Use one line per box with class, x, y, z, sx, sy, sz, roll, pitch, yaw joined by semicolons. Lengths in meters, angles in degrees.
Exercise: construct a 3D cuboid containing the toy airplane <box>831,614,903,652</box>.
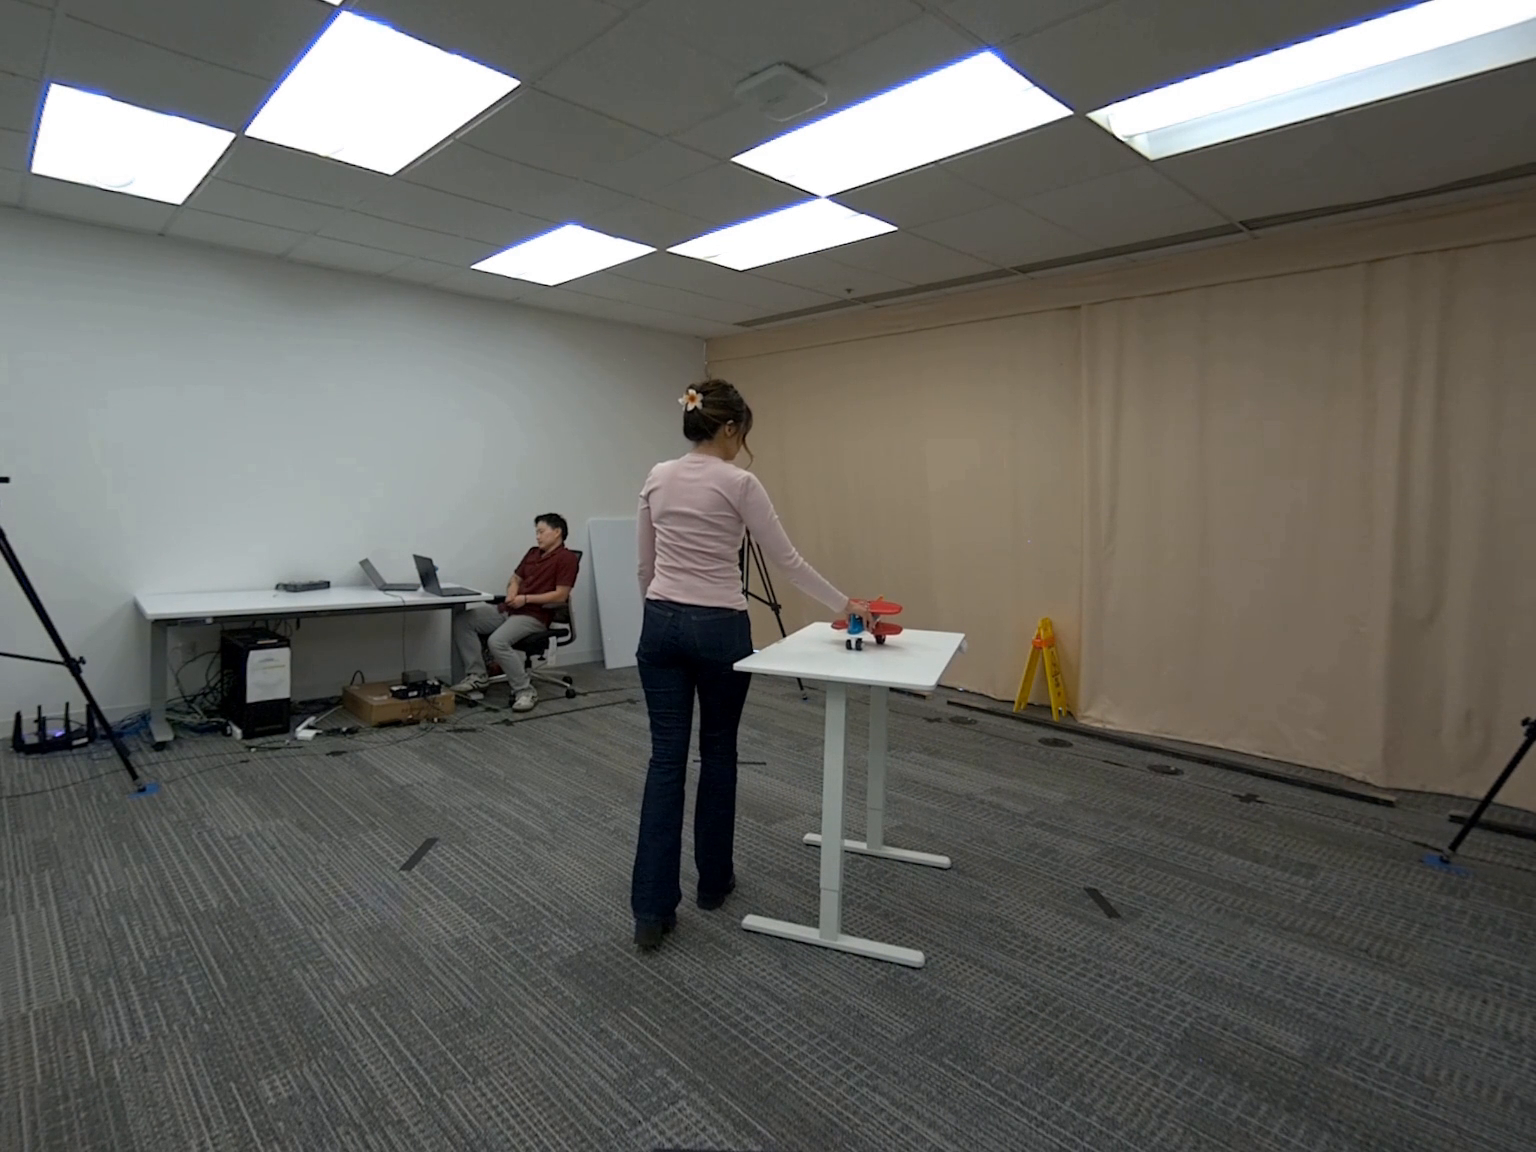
toy airplane;0.350;0.173;2.953;0.250;0.156;0.261;0;5;-7
